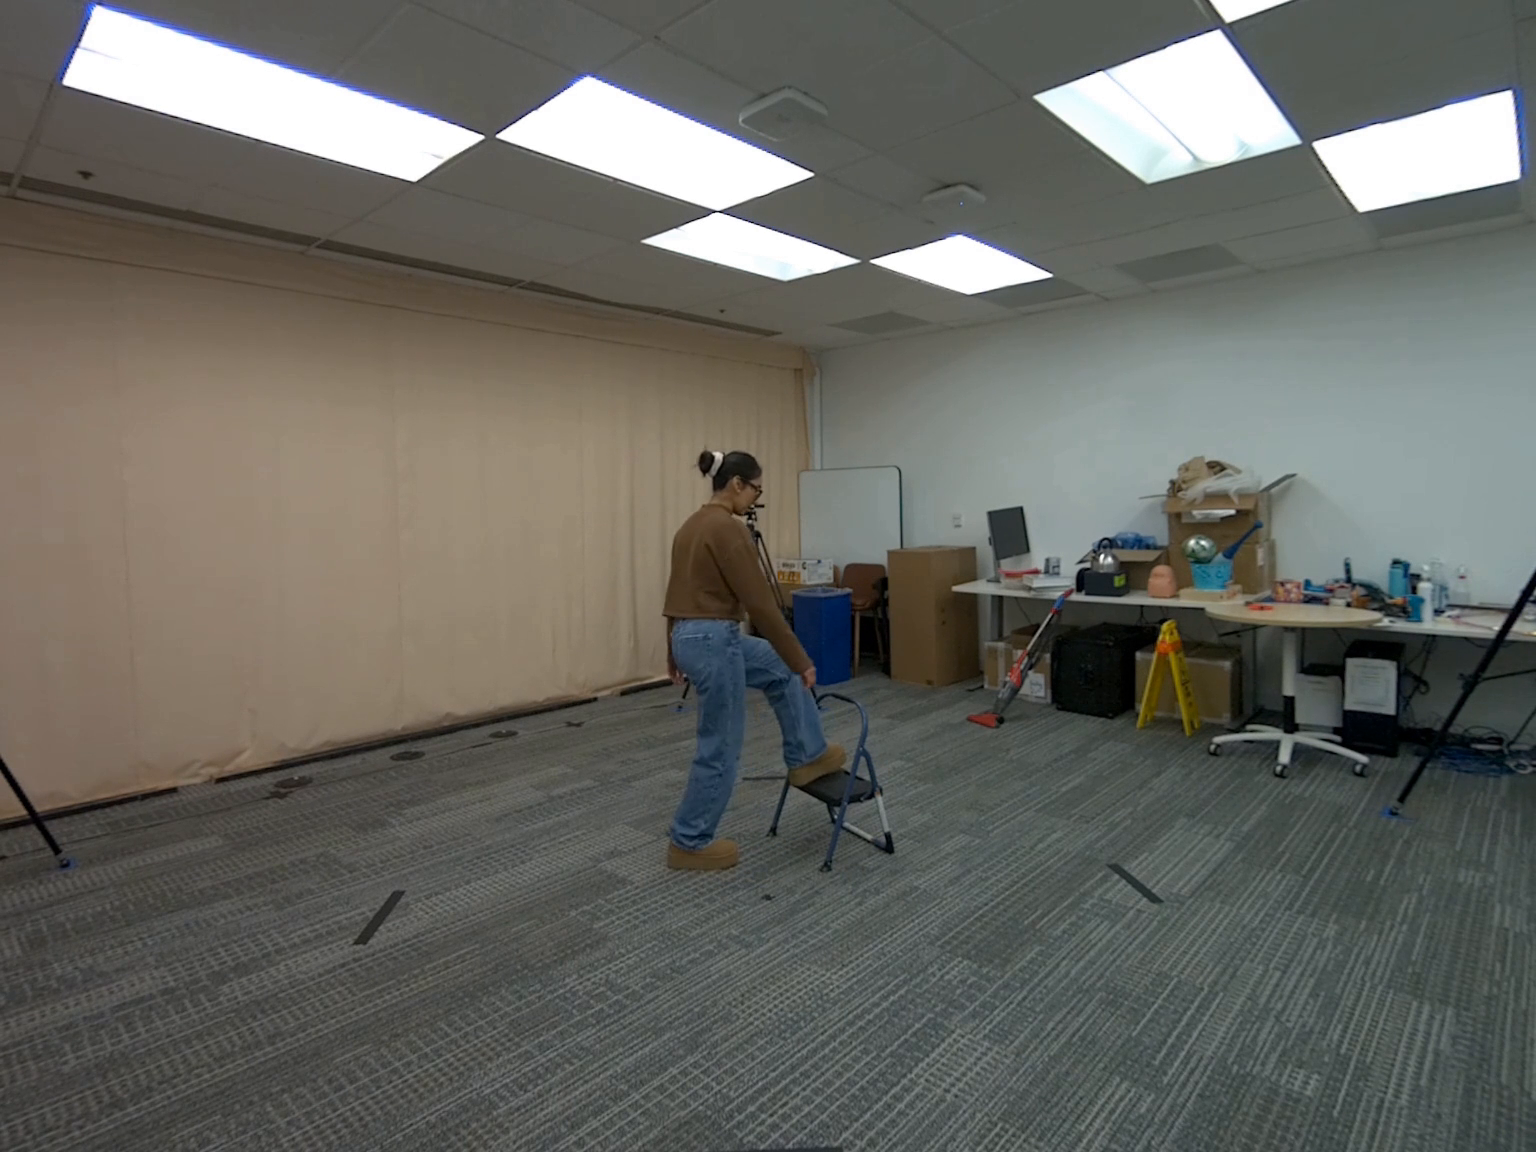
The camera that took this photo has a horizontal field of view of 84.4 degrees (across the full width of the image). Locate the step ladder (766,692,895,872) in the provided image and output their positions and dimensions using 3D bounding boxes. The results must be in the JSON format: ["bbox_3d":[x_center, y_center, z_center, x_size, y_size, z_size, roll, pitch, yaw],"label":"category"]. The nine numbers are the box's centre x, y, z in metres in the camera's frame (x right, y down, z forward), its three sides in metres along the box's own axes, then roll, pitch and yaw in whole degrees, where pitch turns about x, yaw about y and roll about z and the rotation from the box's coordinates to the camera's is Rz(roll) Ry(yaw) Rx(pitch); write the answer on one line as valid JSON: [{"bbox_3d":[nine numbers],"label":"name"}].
[{"bbox_3d":[0.253,0.794,3.426,0.340,0.605,0.443,-3,3,-30],"label":"step ladder"}]
